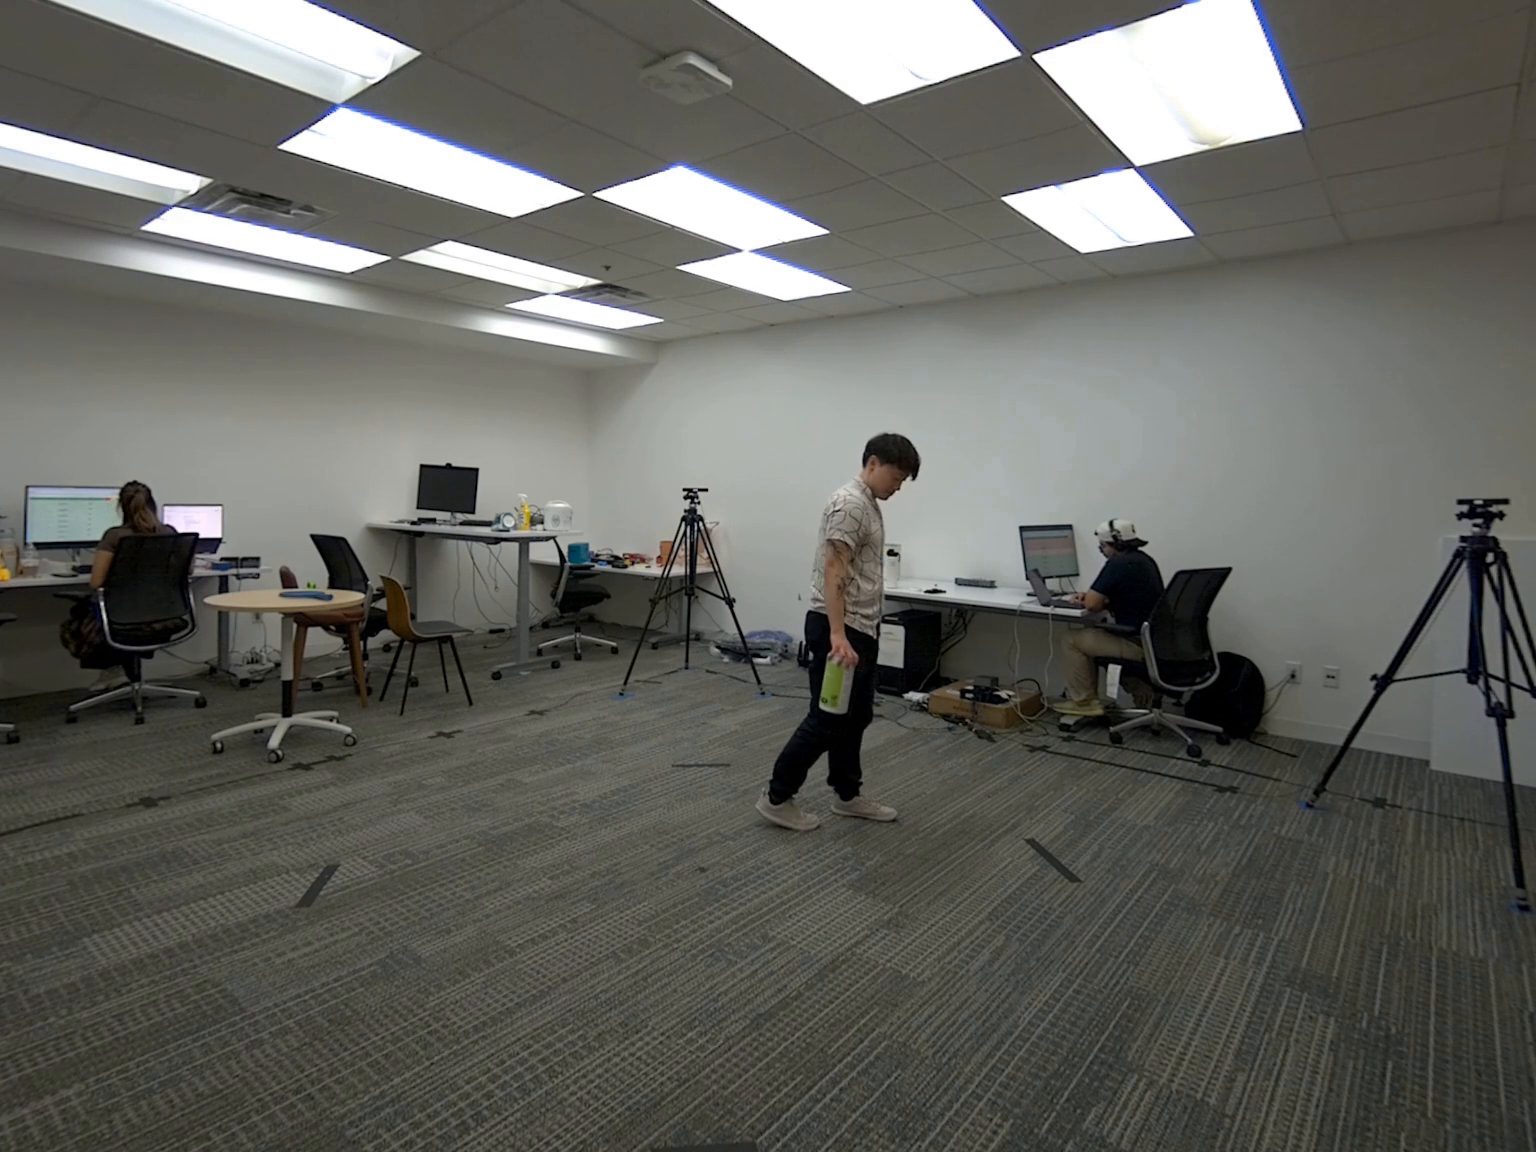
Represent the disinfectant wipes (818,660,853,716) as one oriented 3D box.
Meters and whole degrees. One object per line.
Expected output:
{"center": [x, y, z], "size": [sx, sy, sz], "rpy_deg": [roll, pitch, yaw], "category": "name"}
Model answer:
{"center": [0.260, 0.413, 3.287], "size": [0.117, 0.216, 0.118], "rpy_deg": [7, 5, -3], "category": "disinfectant wipes"}
